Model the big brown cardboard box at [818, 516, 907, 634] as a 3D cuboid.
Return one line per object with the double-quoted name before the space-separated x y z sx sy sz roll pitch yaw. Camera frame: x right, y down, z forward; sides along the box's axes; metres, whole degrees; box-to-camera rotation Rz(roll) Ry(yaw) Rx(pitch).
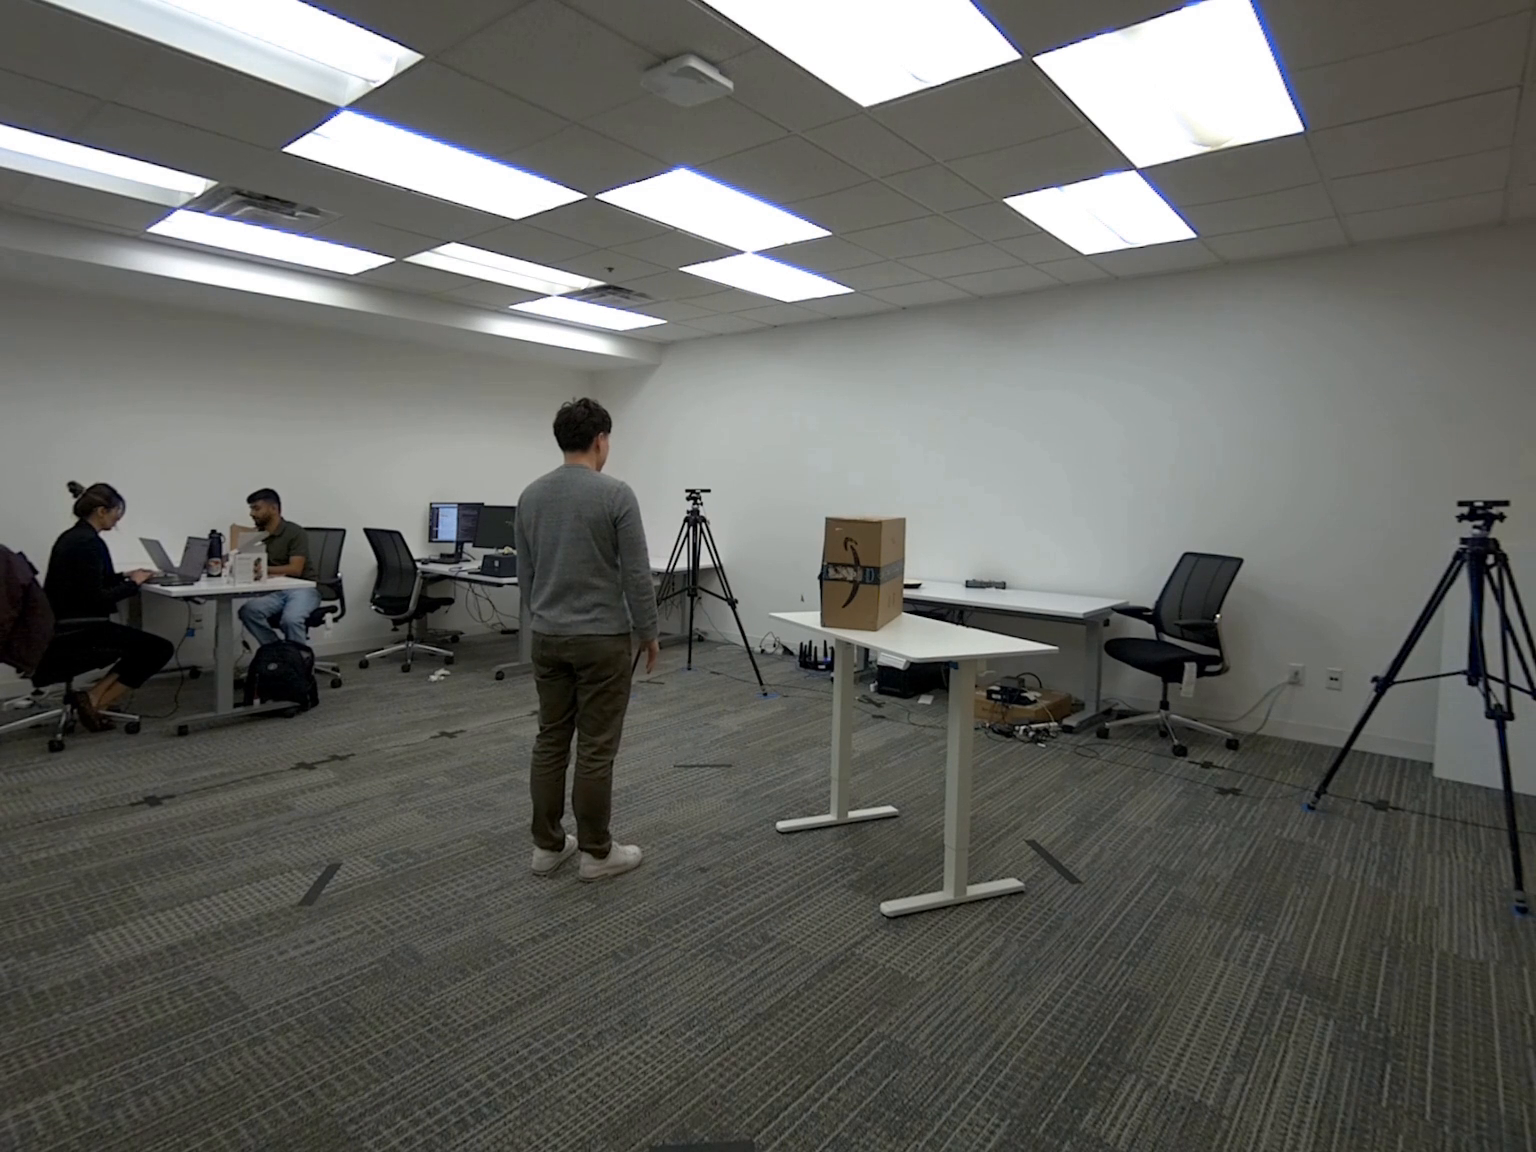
"big brown cardboard box" 0.395 -0.029 3.420 0.238 0.416 0.579 4 4 16
